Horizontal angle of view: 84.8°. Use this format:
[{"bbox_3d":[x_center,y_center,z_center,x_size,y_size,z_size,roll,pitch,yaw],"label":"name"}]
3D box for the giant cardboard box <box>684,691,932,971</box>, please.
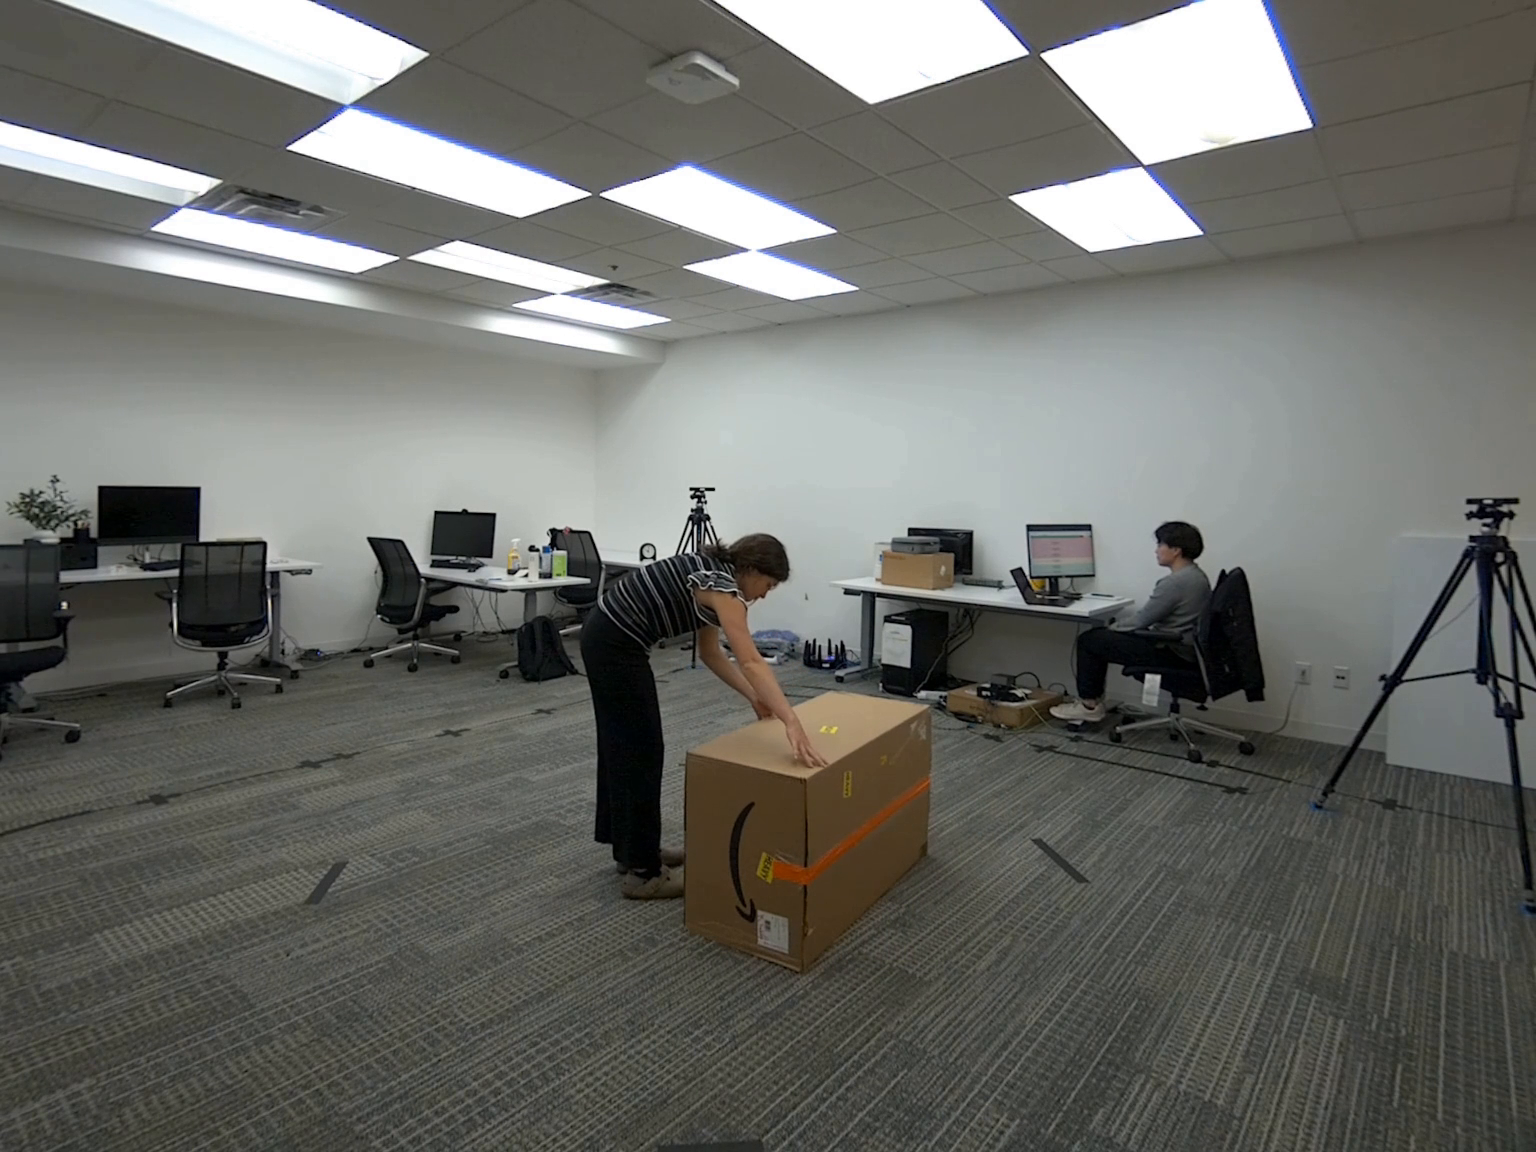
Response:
[{"bbox_3d":[0.174,0.798,2.958,0.439,0.575,0.999,4,6,31],"label":"giant cardboard box"}]
